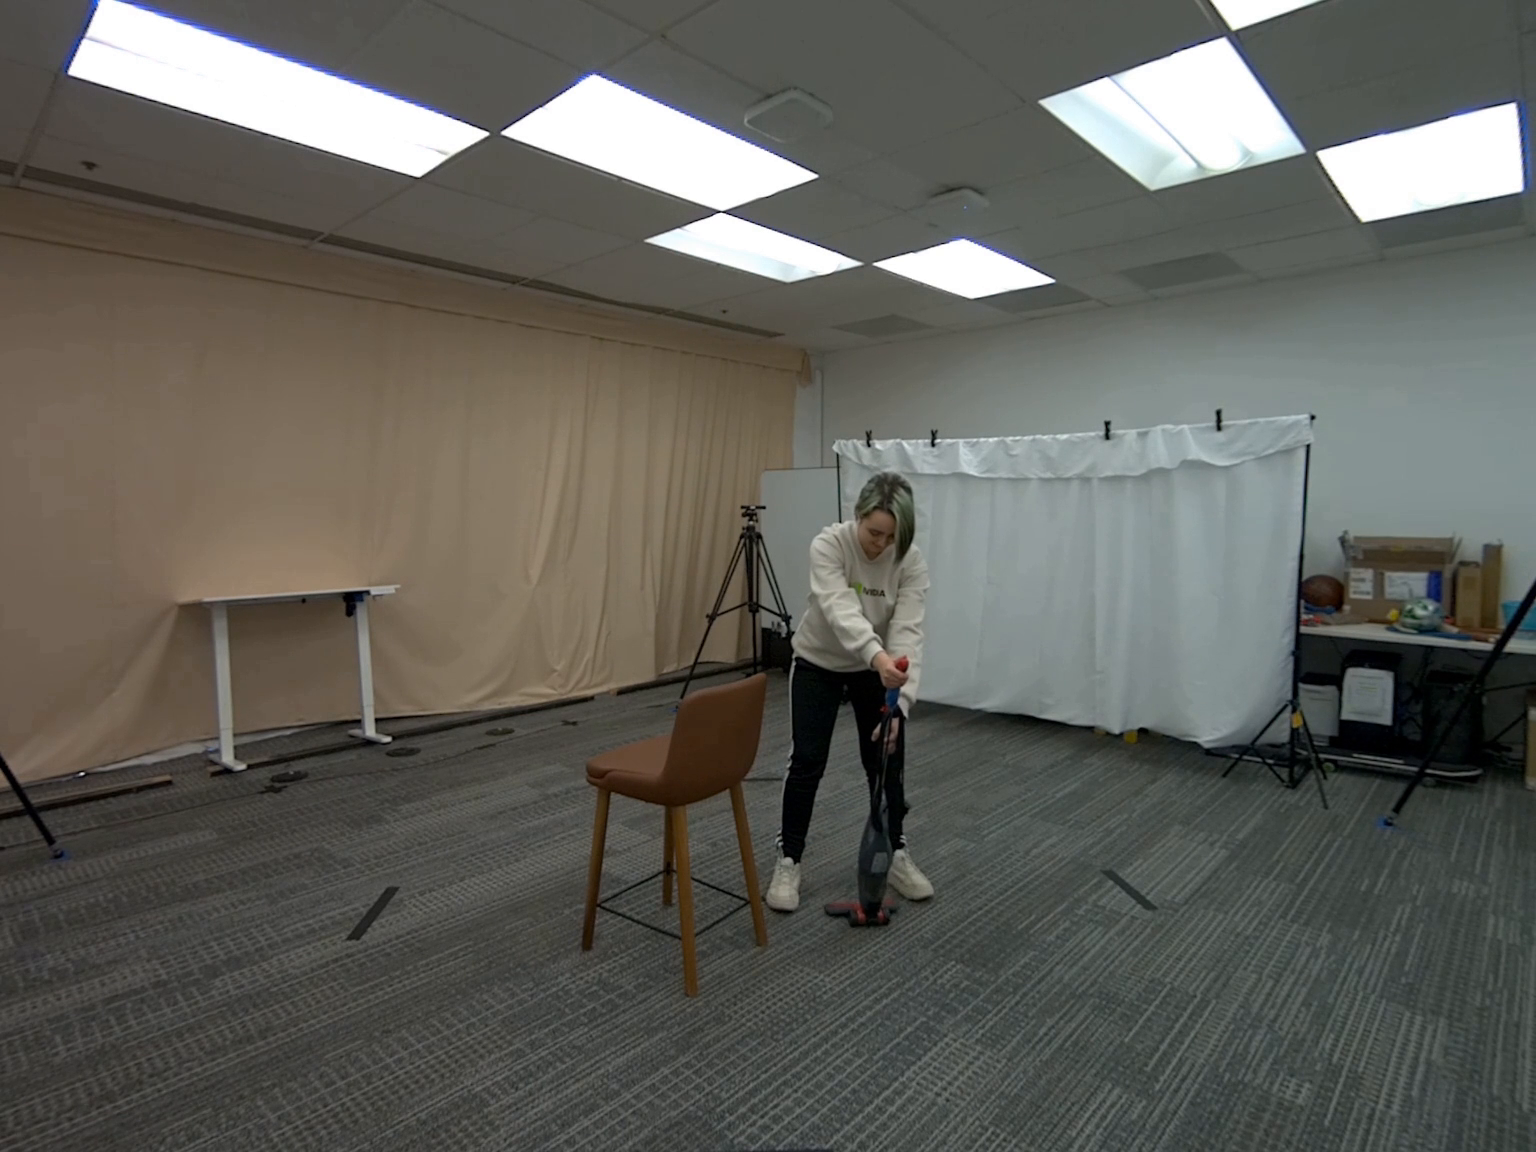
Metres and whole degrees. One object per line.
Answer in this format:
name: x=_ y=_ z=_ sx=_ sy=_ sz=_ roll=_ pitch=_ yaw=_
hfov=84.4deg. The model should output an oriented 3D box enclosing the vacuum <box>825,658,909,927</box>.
vacuum: x=0.359 y=0.702 z=2.592 sx=0.250 sy=1.034 sz=0.148 roll=-3 pitch=31 yaw=-12
